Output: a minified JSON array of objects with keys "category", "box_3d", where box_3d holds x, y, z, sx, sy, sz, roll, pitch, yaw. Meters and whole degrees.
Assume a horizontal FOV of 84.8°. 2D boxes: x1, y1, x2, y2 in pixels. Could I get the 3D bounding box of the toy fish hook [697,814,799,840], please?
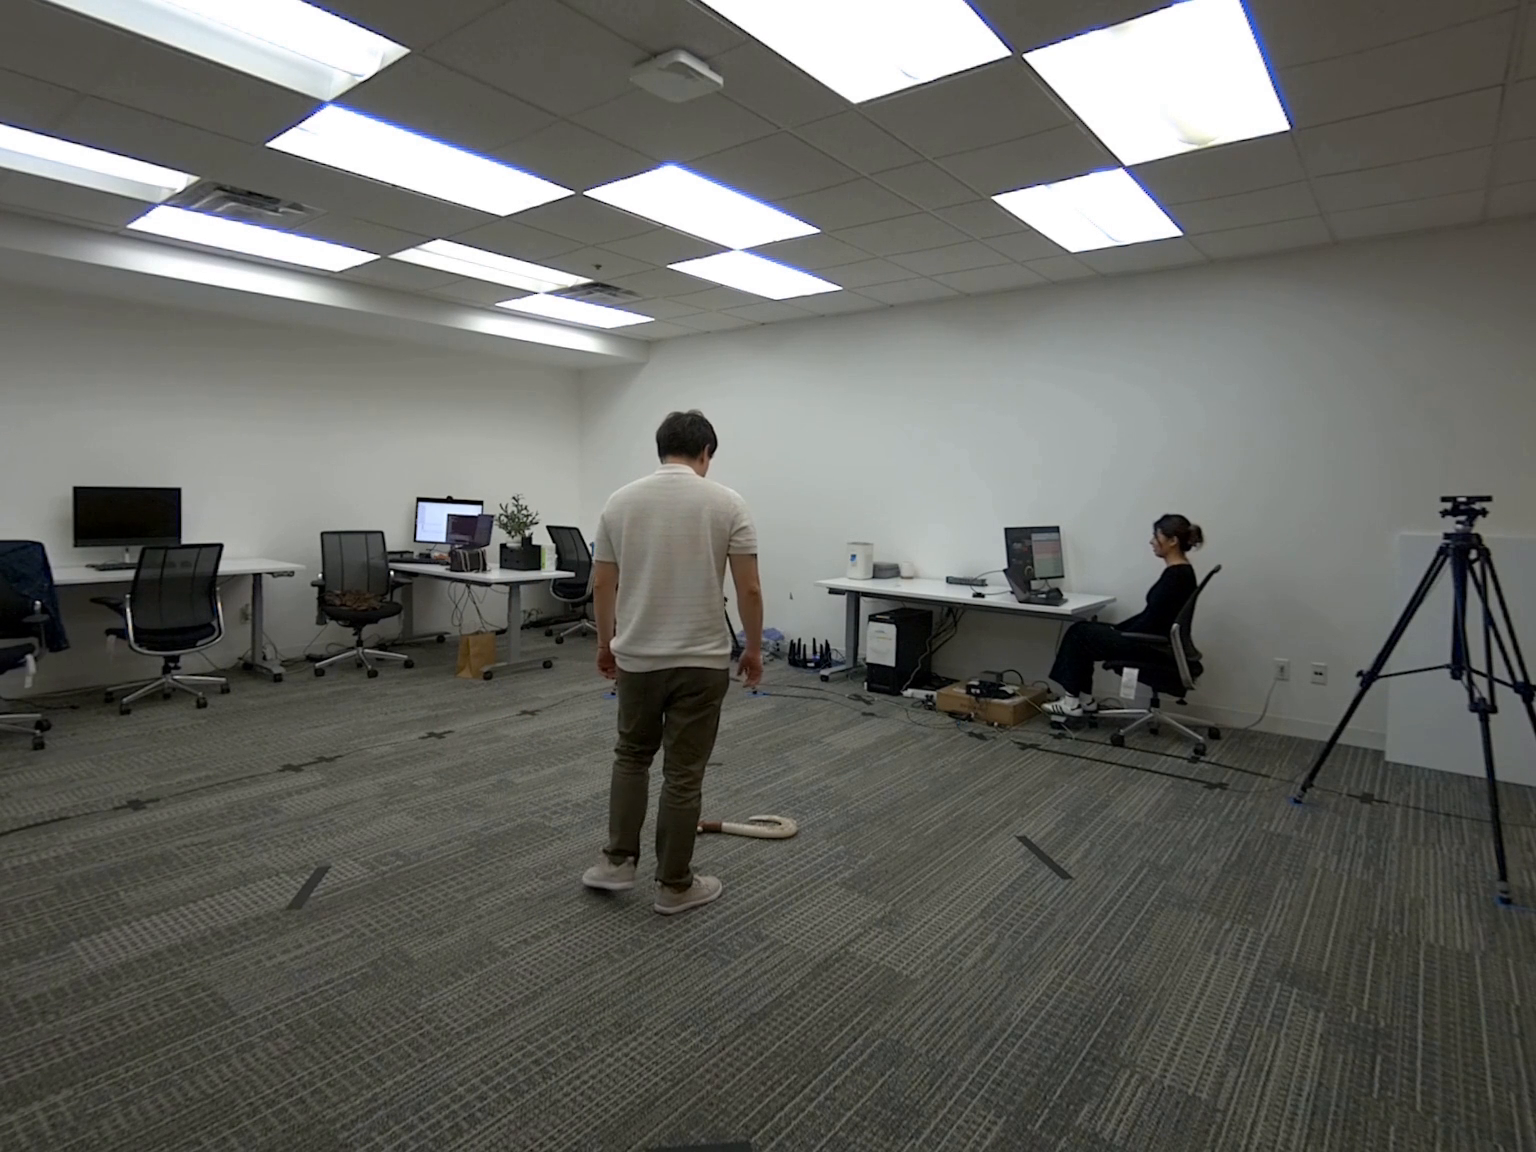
[{"category":"toy fish hook","box_3d":[-0.148,1.011,3.482,0.508,0.048,0.223,2,-2,2]}]
